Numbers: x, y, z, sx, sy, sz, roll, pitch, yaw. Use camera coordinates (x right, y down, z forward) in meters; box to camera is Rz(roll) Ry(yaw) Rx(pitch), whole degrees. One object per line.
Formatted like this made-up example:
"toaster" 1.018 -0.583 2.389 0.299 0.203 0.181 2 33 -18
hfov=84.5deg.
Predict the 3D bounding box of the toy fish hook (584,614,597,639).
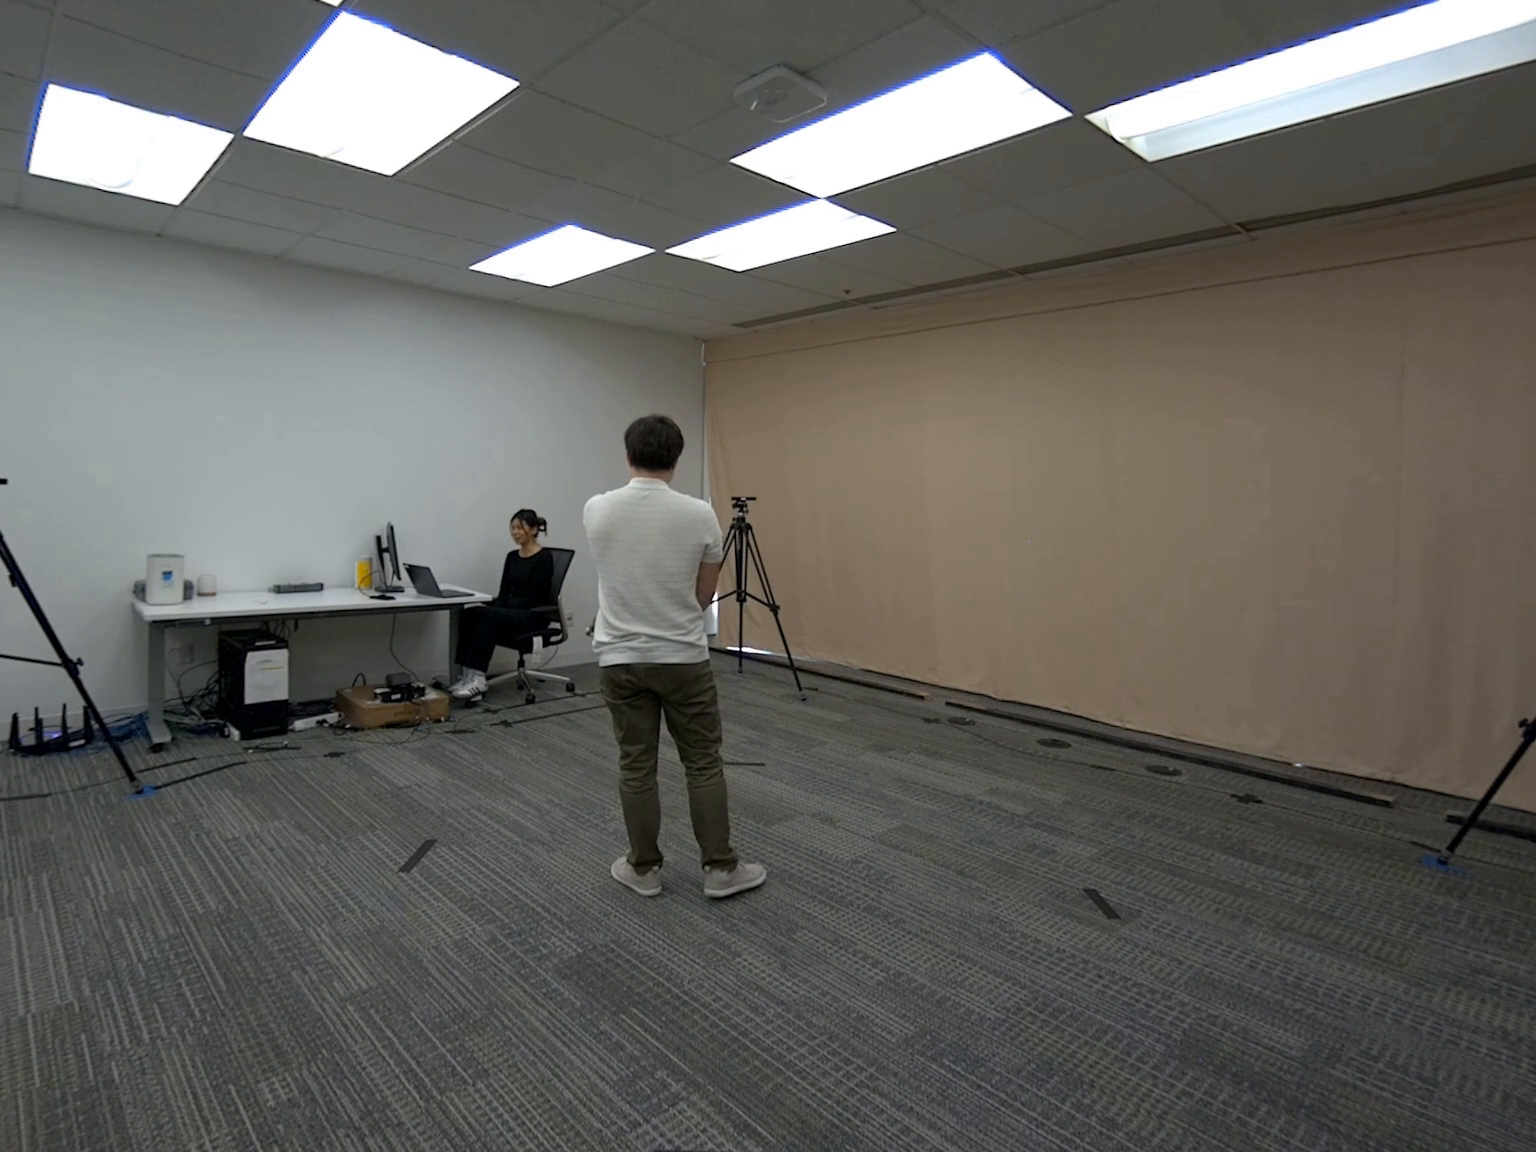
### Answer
"toy fish hook" -0.608 0.006 3.365 0.226 0.507 0.048 33 -14 7
